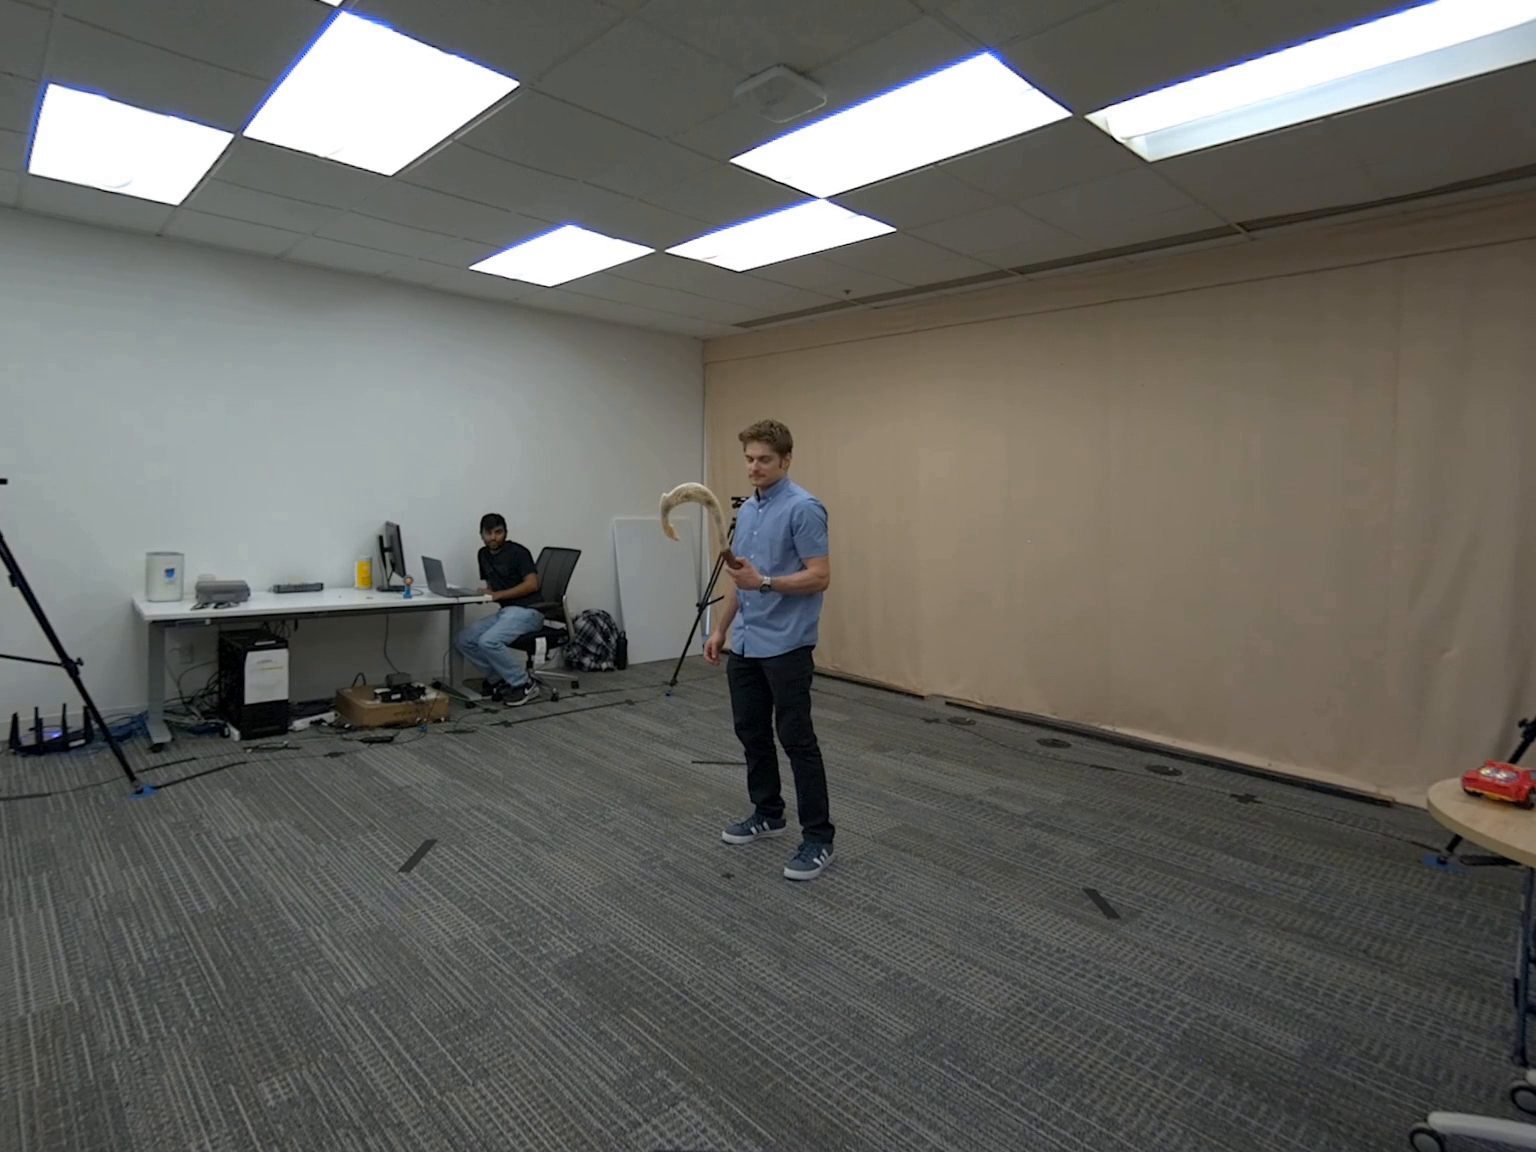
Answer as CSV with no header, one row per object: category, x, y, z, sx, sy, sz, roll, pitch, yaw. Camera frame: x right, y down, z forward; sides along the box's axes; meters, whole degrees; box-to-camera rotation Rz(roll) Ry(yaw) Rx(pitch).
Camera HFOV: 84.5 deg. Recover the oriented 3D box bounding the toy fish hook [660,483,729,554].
toy fish hook,-0.227,-0.119,3.055,0.225,0.493,0.049,-23,31,11
